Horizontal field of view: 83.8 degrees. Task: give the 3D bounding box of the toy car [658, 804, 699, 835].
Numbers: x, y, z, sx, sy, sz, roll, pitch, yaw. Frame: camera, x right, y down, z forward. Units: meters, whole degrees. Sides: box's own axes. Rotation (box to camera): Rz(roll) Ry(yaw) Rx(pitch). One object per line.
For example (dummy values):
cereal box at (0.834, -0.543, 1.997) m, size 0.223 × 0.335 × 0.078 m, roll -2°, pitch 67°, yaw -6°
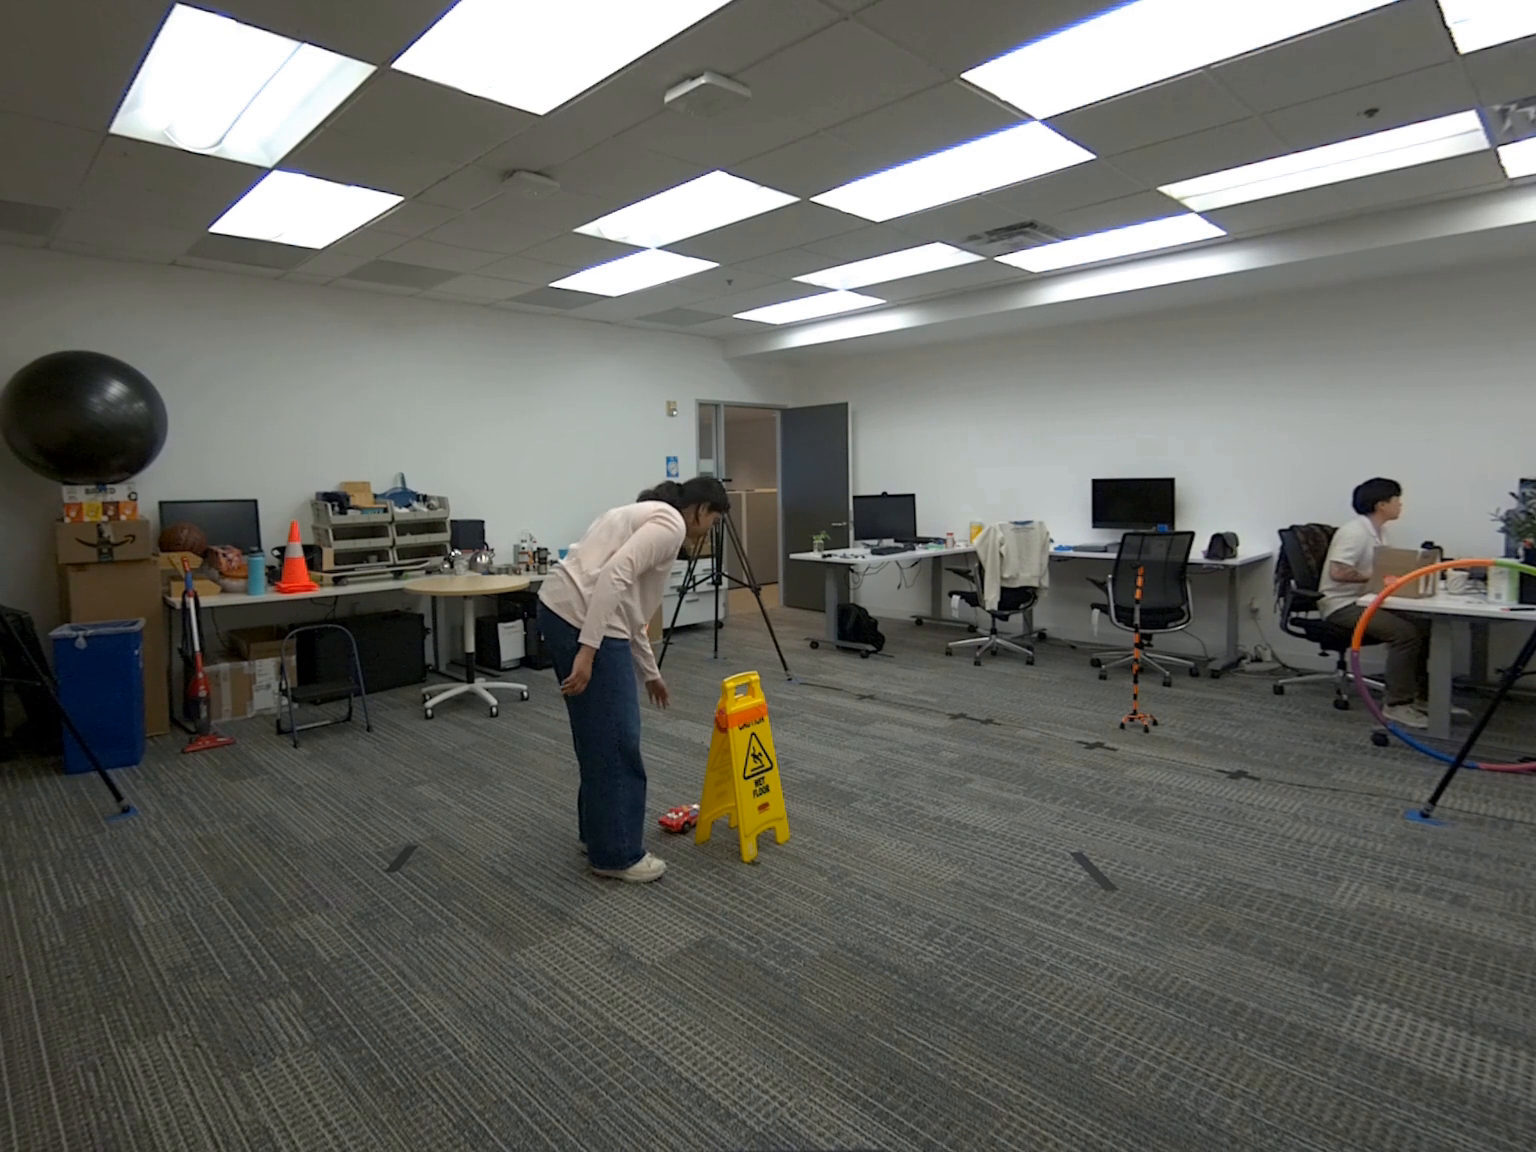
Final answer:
toy car at (-0.334, 0.979, 3.457) m, size 0.134 × 0.083 × 0.246 m, roll 4°, pitch -2°, yaw 40°
